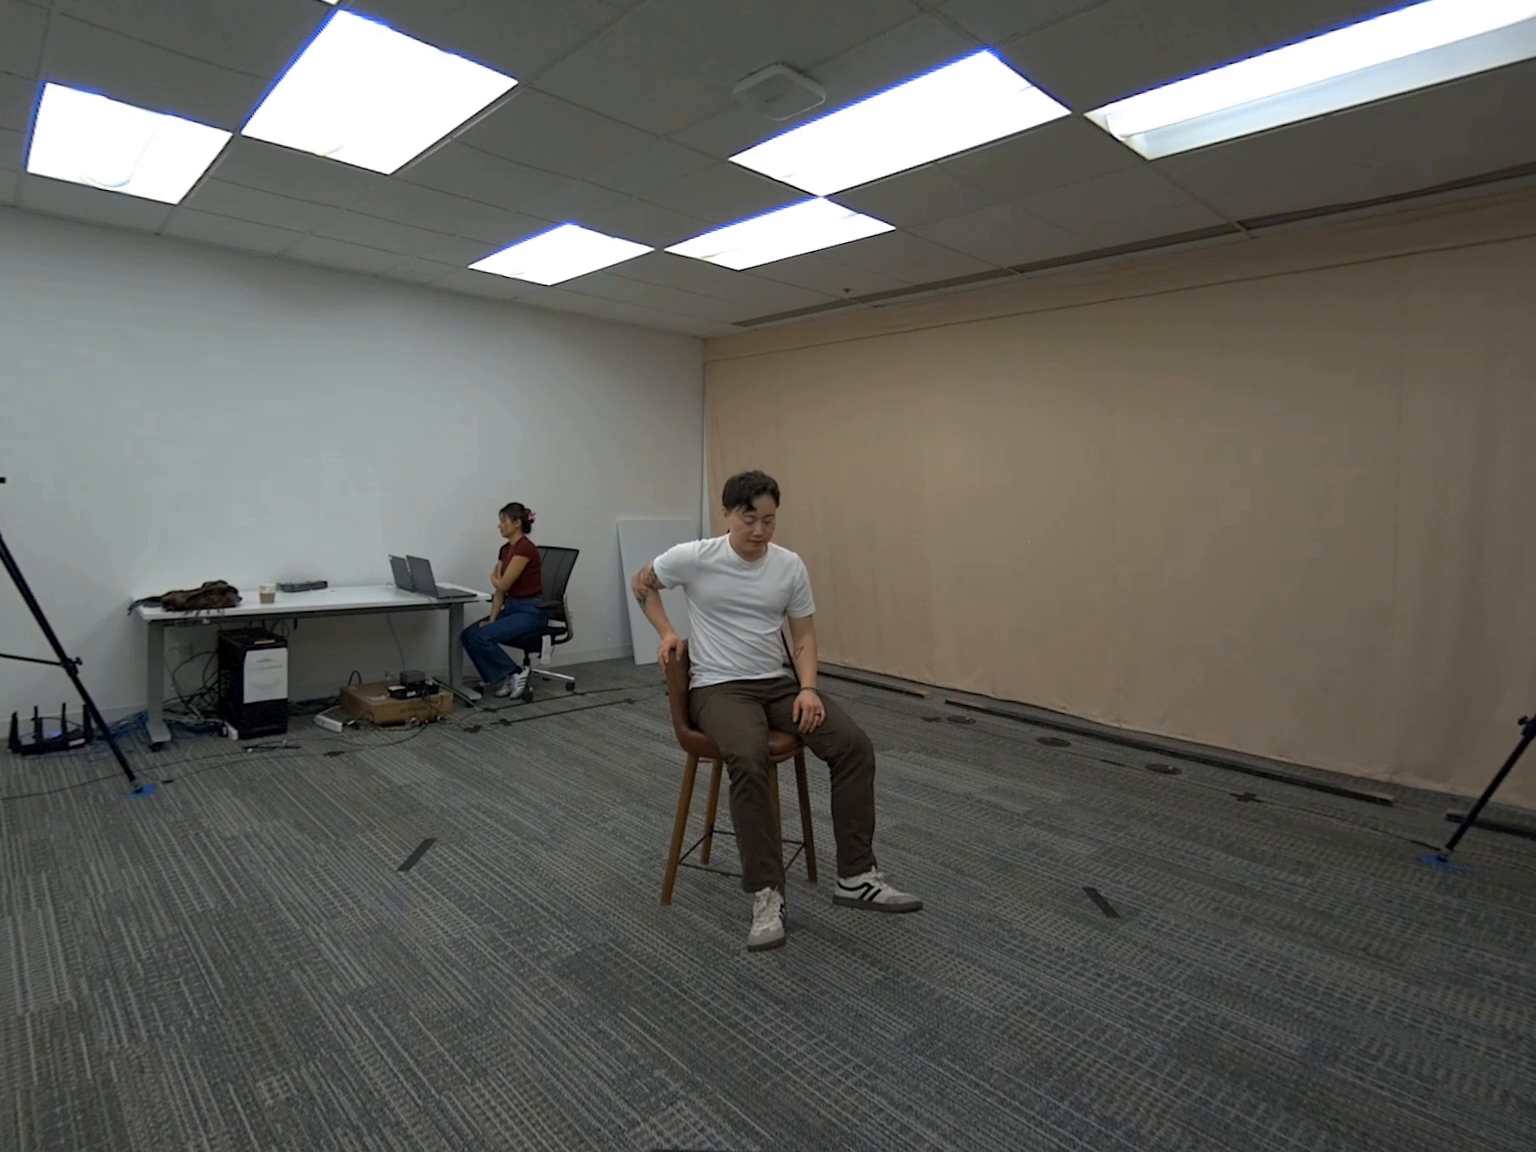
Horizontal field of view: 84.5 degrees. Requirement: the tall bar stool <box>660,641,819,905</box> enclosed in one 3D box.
[{"bbox_3d":[-0.105,0.685,2.946,0.475,0.888,0.450,0,3,21],"label":"tall bar stool"}]
